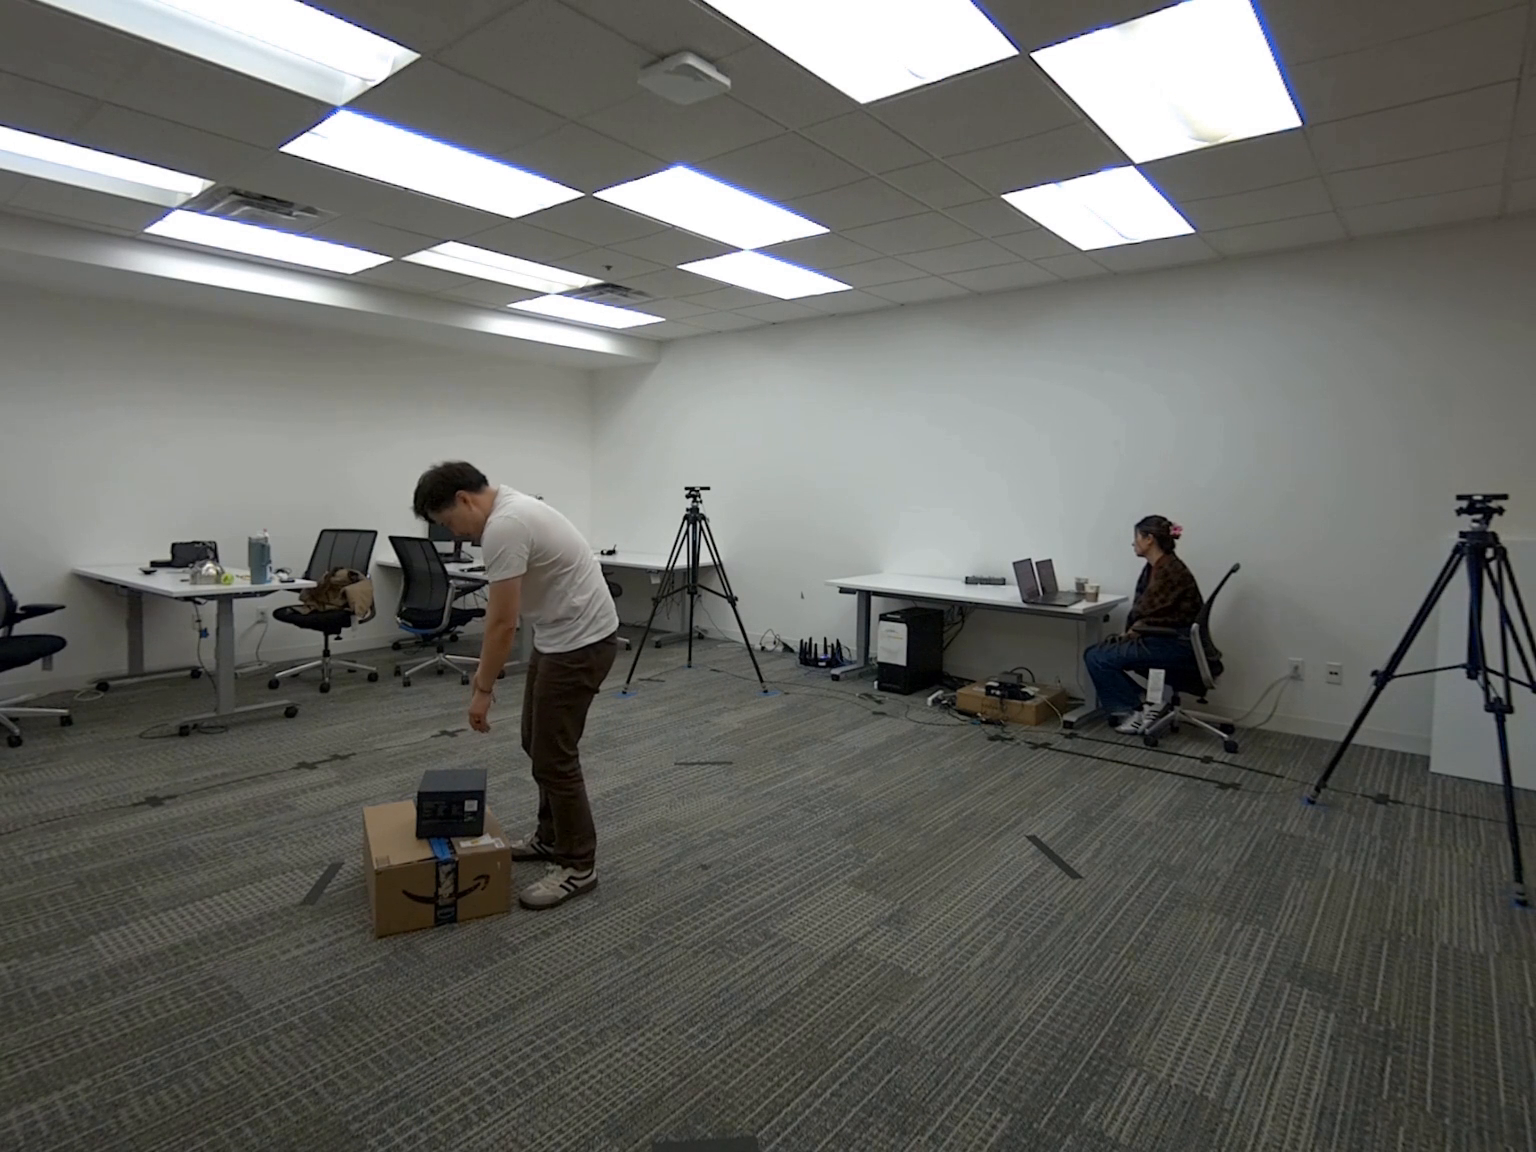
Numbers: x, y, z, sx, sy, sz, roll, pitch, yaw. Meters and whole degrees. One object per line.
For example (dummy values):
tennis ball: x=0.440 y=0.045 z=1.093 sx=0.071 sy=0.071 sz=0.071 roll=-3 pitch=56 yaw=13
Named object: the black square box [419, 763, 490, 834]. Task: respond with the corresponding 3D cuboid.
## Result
black square box: x=-1.086 y=0.767 z=2.924 sx=0.213 sy=0.155 sz=0.232 roll=1 pitch=3 yaw=-16
